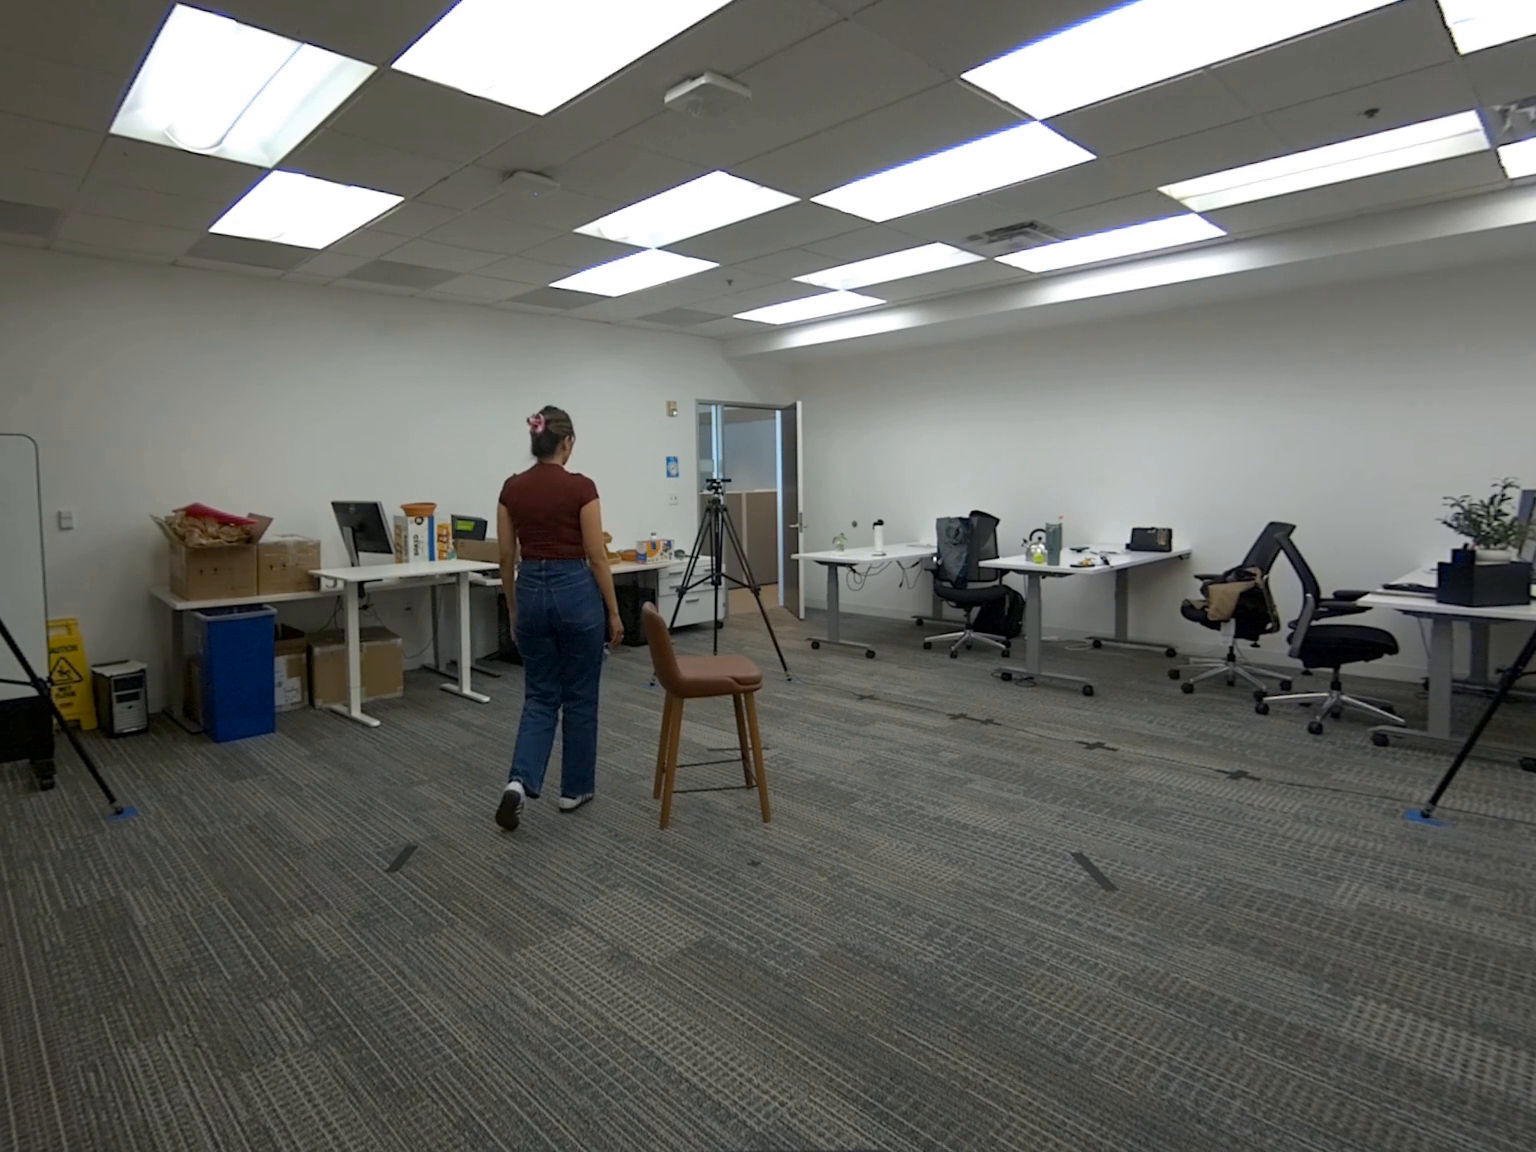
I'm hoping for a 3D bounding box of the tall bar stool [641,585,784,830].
[{"bbox_3d":[-0.269,0.557,3.615,0.463,0.887,0.463,-3,4,-11],"label":"tall bar stool"}]
